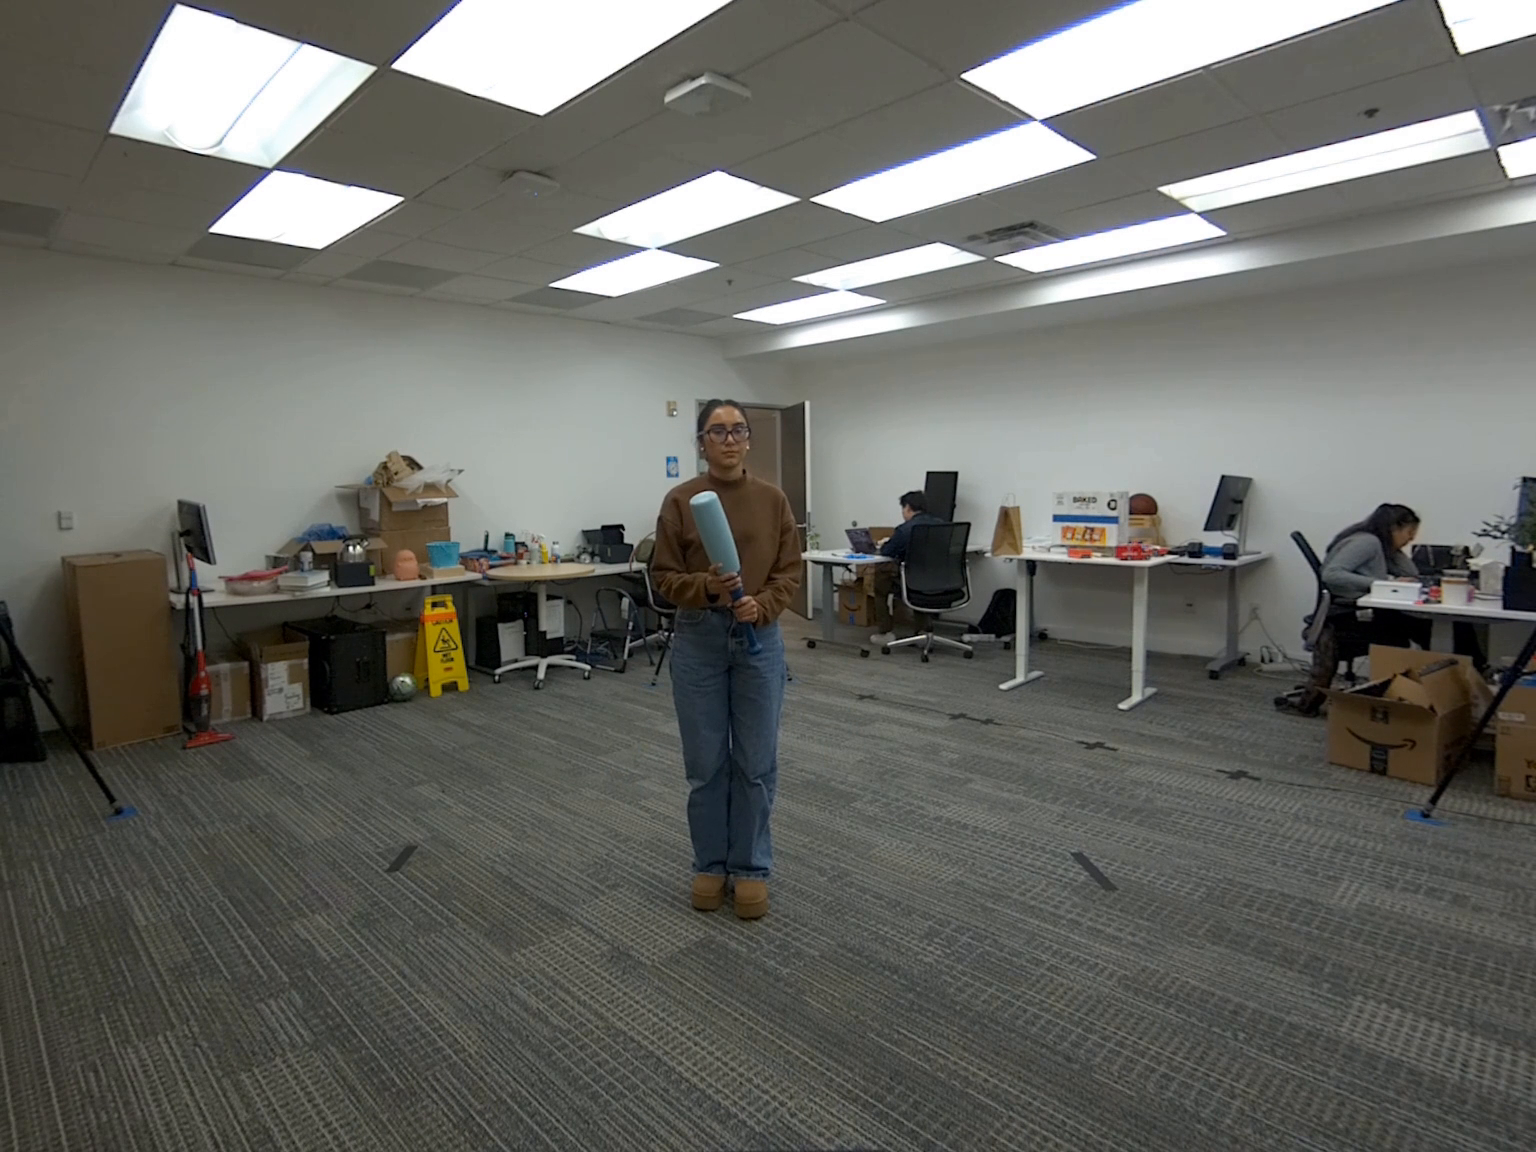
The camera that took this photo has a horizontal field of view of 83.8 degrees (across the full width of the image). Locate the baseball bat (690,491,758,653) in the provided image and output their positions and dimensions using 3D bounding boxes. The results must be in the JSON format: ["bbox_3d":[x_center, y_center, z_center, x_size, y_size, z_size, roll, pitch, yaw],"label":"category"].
[{"bbox_3d":[-0.109,0.011,2.518,0.089,0.530,0.091,-16,23,5],"label":"baseball bat"}]
